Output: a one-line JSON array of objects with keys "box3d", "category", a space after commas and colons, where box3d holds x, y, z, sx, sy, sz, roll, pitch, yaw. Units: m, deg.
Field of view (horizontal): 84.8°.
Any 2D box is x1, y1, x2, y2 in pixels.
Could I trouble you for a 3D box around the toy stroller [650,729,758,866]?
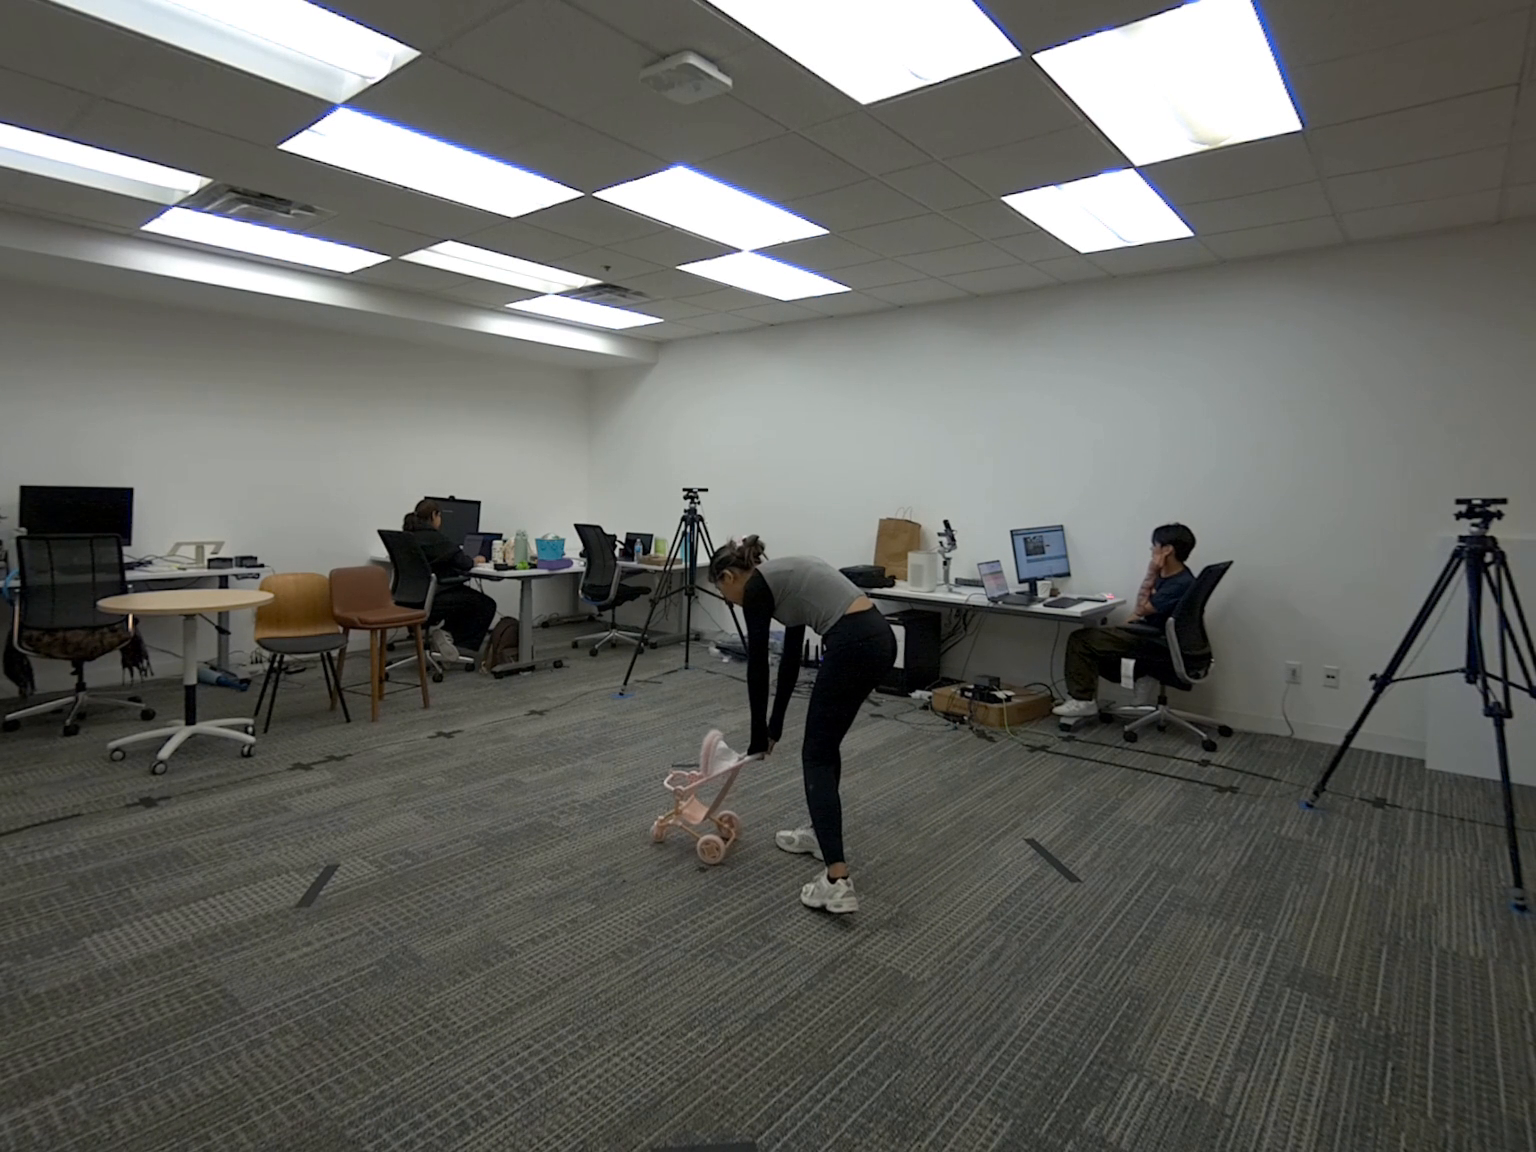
[{"box3d": [-0.249, 0.831, 3.287, 0.349, 0.532, 0.276, 20, 7, 17], "category": "toy stroller"}]
